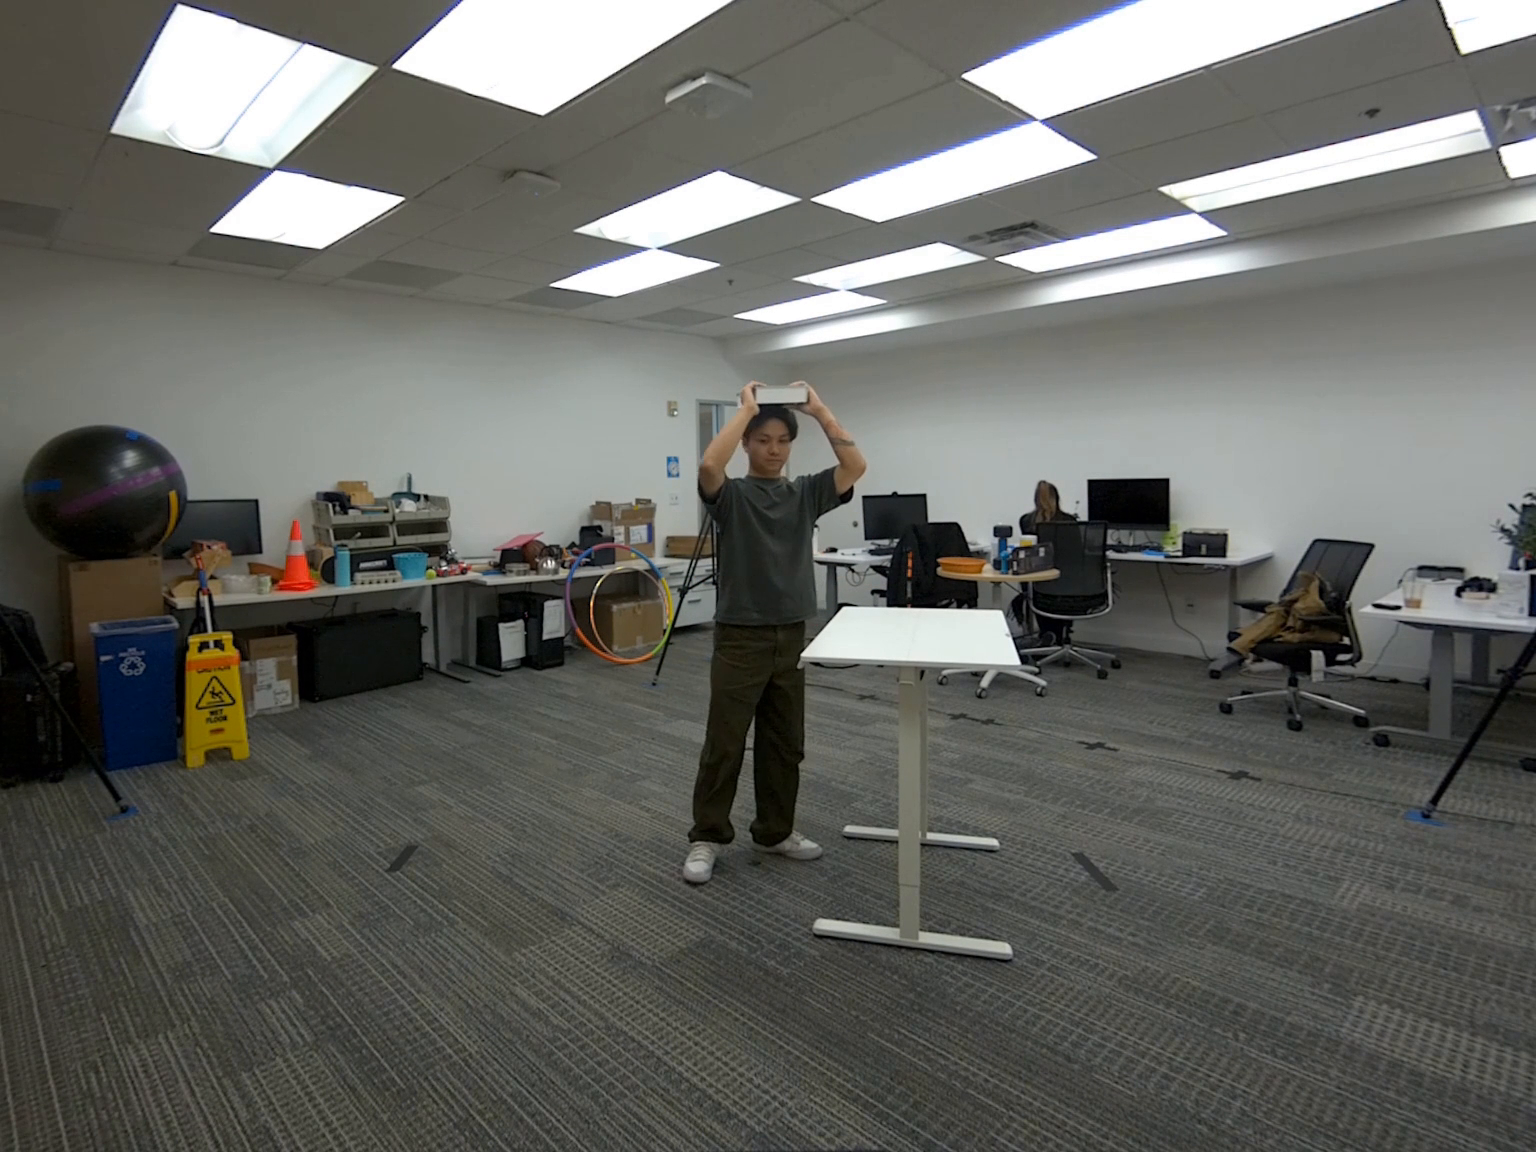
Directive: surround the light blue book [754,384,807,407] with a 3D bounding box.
[{"bbox_3d":[0.006,-0.638,3.030,0.192,0.059,0.262,-3,7,1],"label":"light blue book"}]
